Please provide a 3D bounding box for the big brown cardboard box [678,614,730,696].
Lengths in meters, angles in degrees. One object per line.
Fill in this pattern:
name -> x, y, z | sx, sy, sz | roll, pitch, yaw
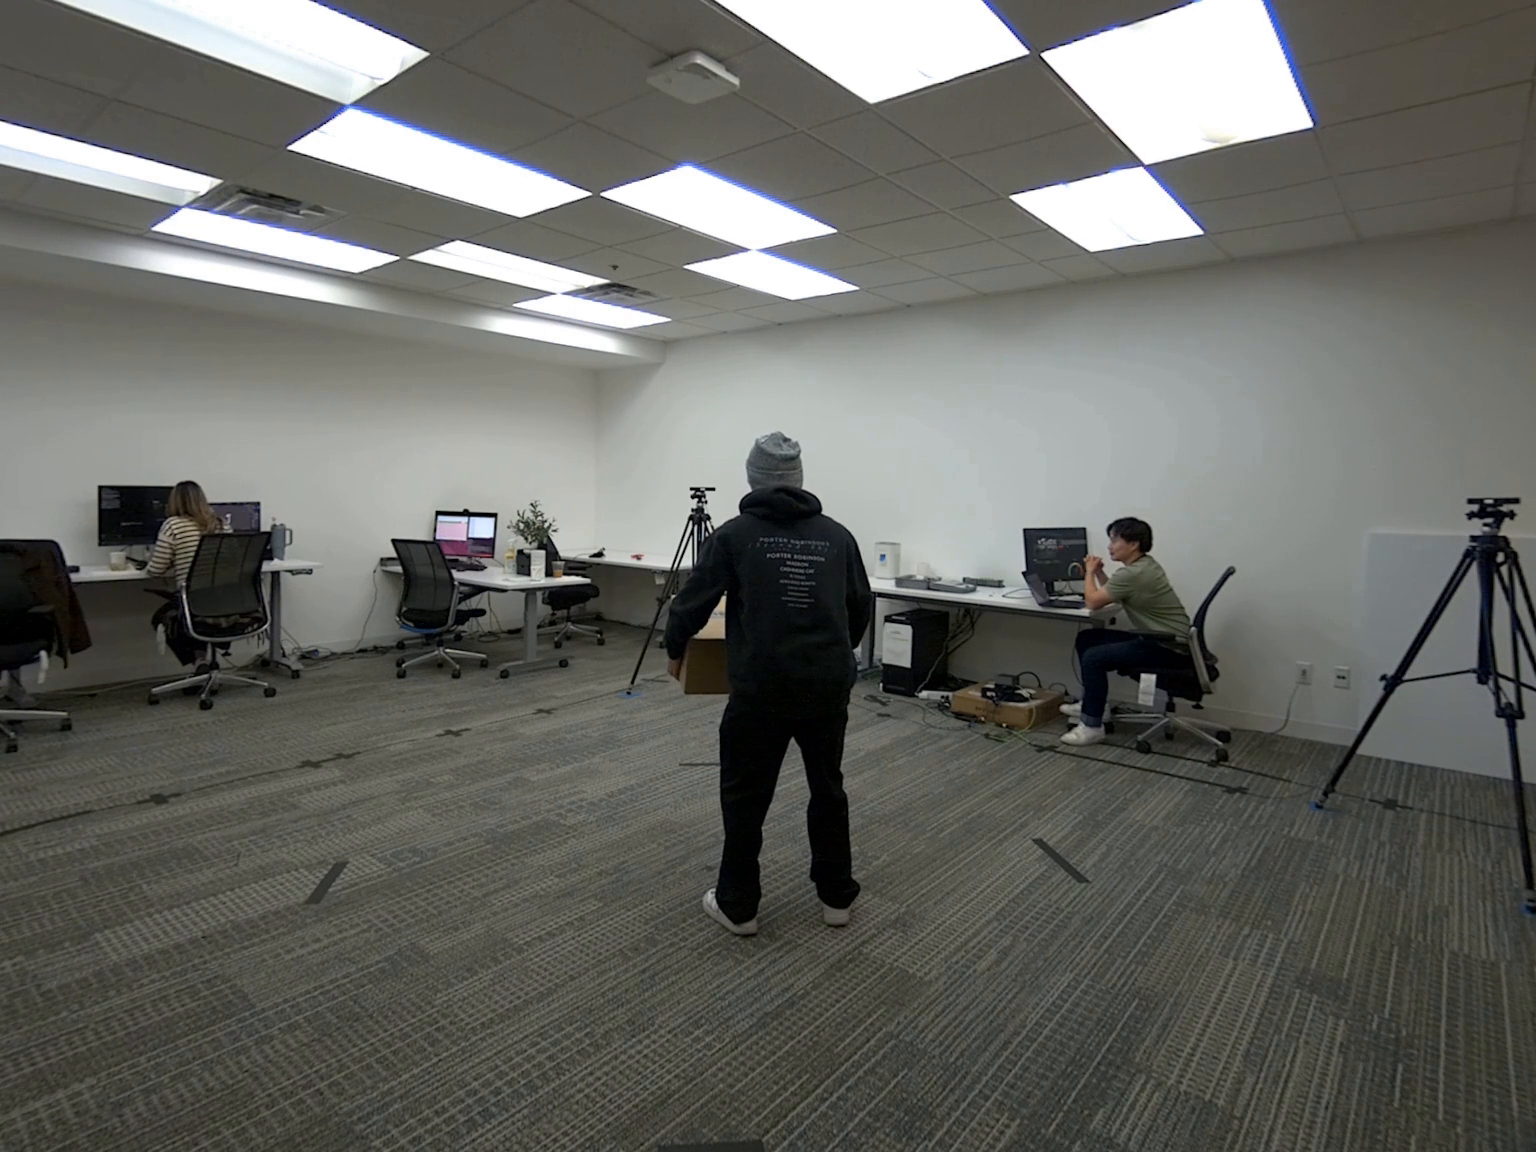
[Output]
big brown cardboard box -> -0.071, 0.243, 3.154 | 0.583, 0.230, 0.427 | 3, 16, -10
